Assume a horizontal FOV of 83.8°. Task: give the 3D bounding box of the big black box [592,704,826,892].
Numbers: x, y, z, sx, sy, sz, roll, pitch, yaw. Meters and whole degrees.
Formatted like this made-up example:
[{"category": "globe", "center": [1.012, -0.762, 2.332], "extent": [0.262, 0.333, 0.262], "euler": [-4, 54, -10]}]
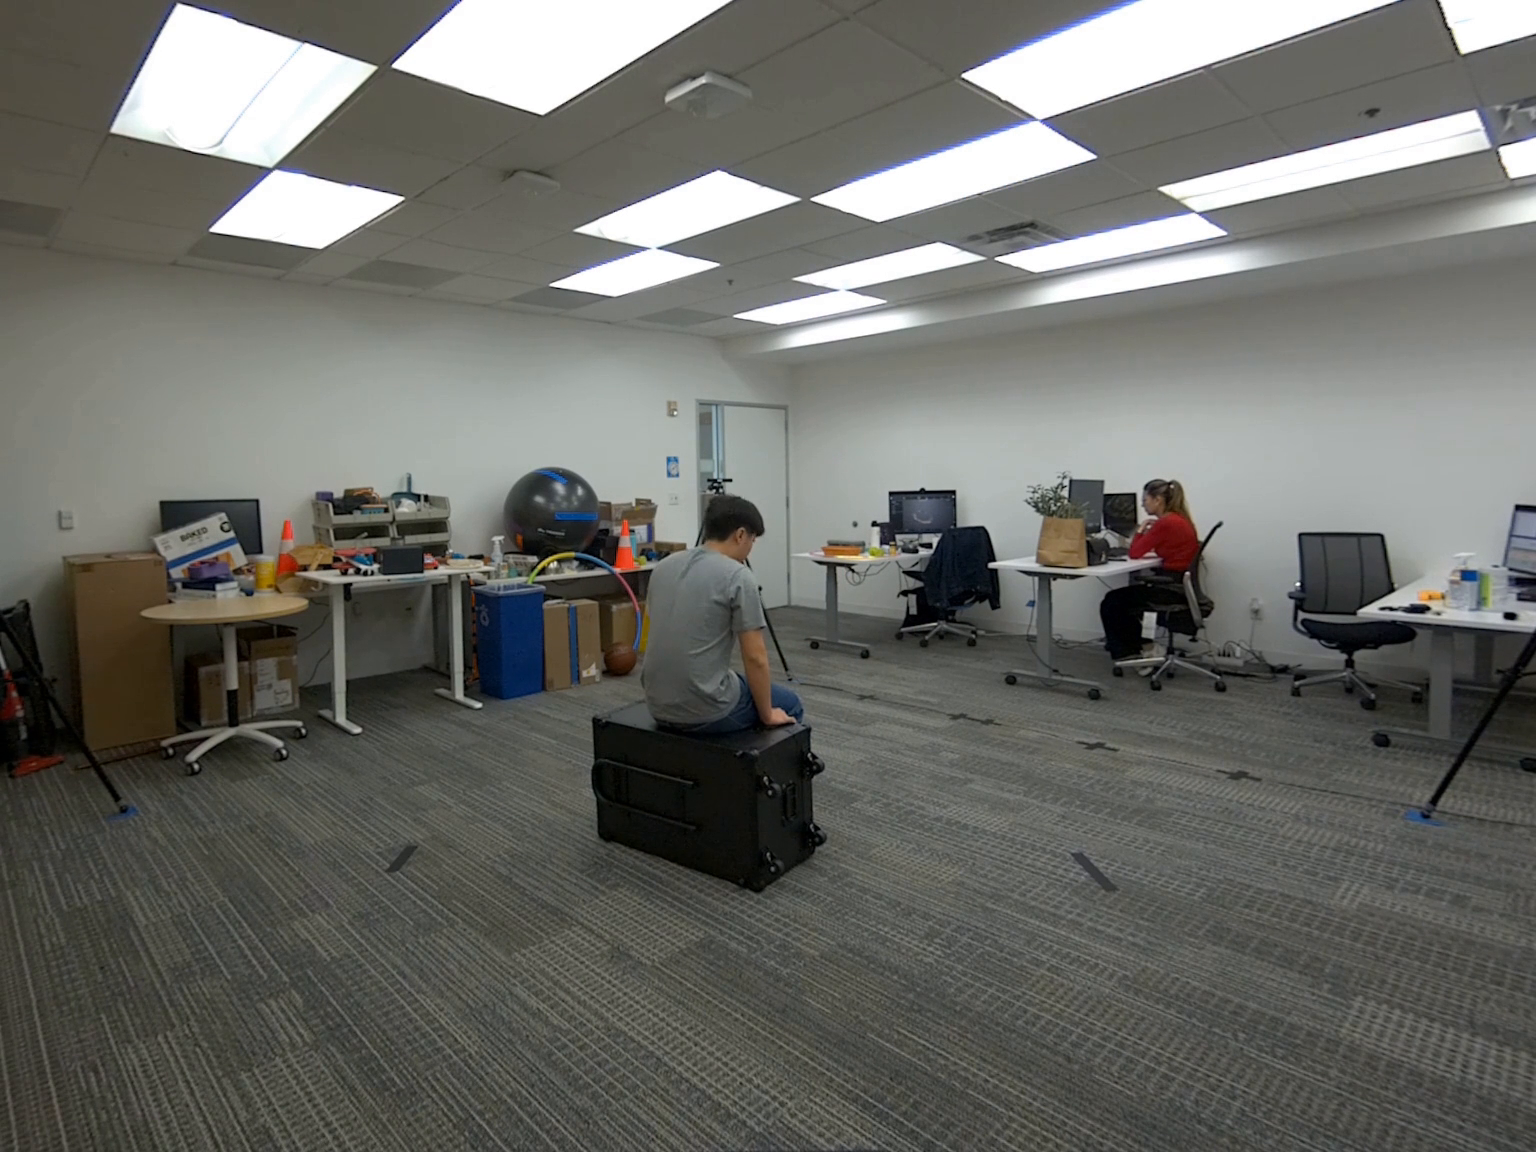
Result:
[{"category": "big black box", "center": [-0.235, 0.783, 3.207], "extent": [0.886, 0.518, 0.387], "euler": [3, 8, 36]}]
